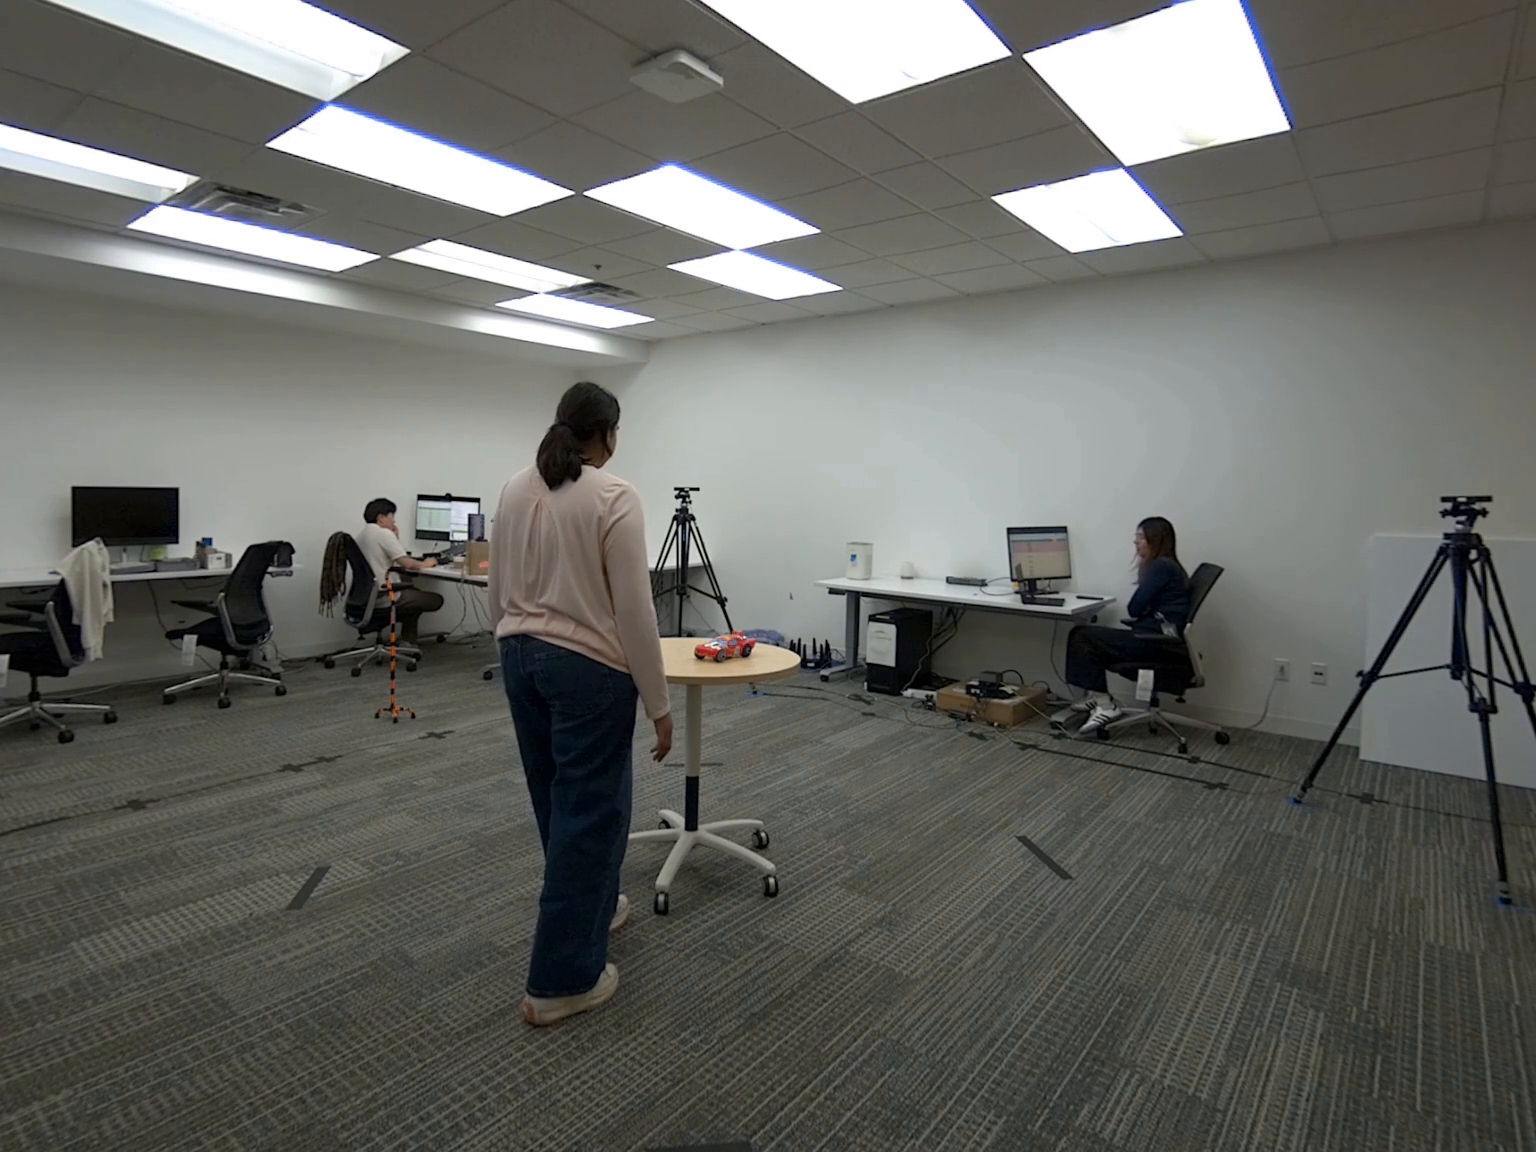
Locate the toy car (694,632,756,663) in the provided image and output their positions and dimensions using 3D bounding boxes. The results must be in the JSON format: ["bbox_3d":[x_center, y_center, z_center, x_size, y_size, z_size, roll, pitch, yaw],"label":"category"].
[{"bbox_3d":[-0.158,0.257,3.061,0.134,0.082,0.249,4,17,39],"label":"toy car"}]
